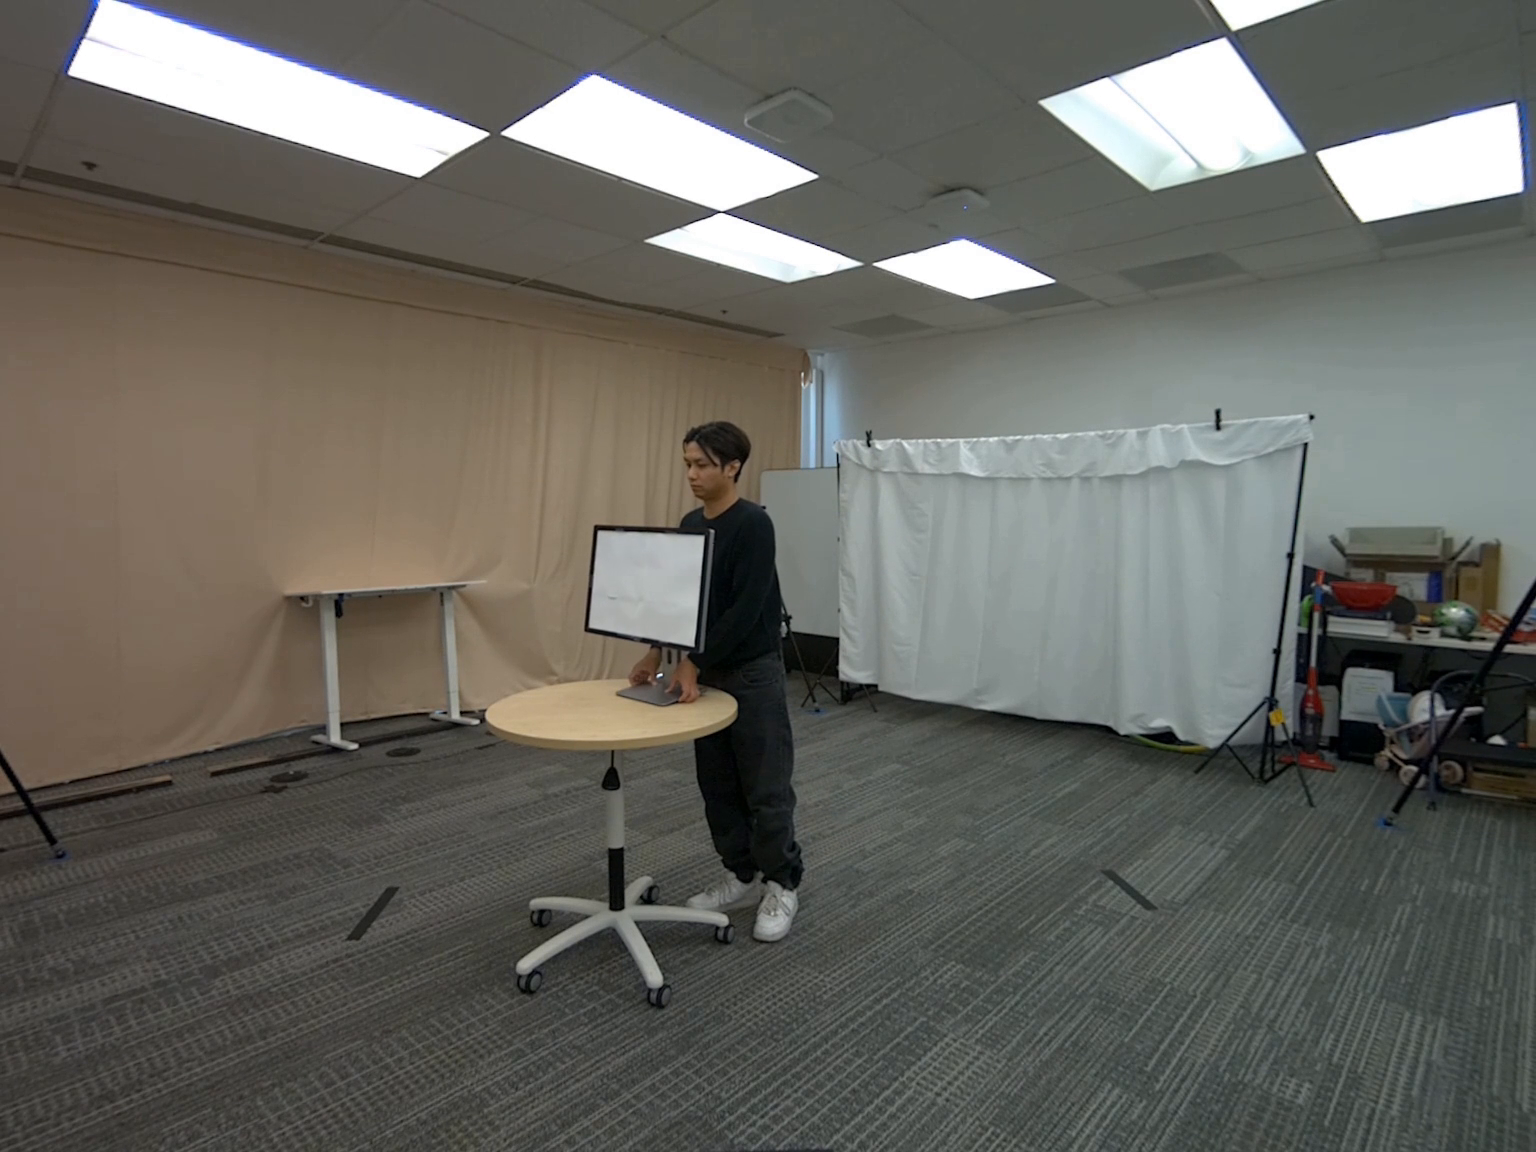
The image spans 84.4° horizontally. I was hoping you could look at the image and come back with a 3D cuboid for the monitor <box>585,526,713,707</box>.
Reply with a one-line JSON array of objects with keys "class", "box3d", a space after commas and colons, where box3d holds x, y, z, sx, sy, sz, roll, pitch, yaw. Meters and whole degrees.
[{"class": "monitor", "box3d": [-0.358, 0.117, 2.697, 0.557, 0.520, 0.182, 3, 8, 39]}]
